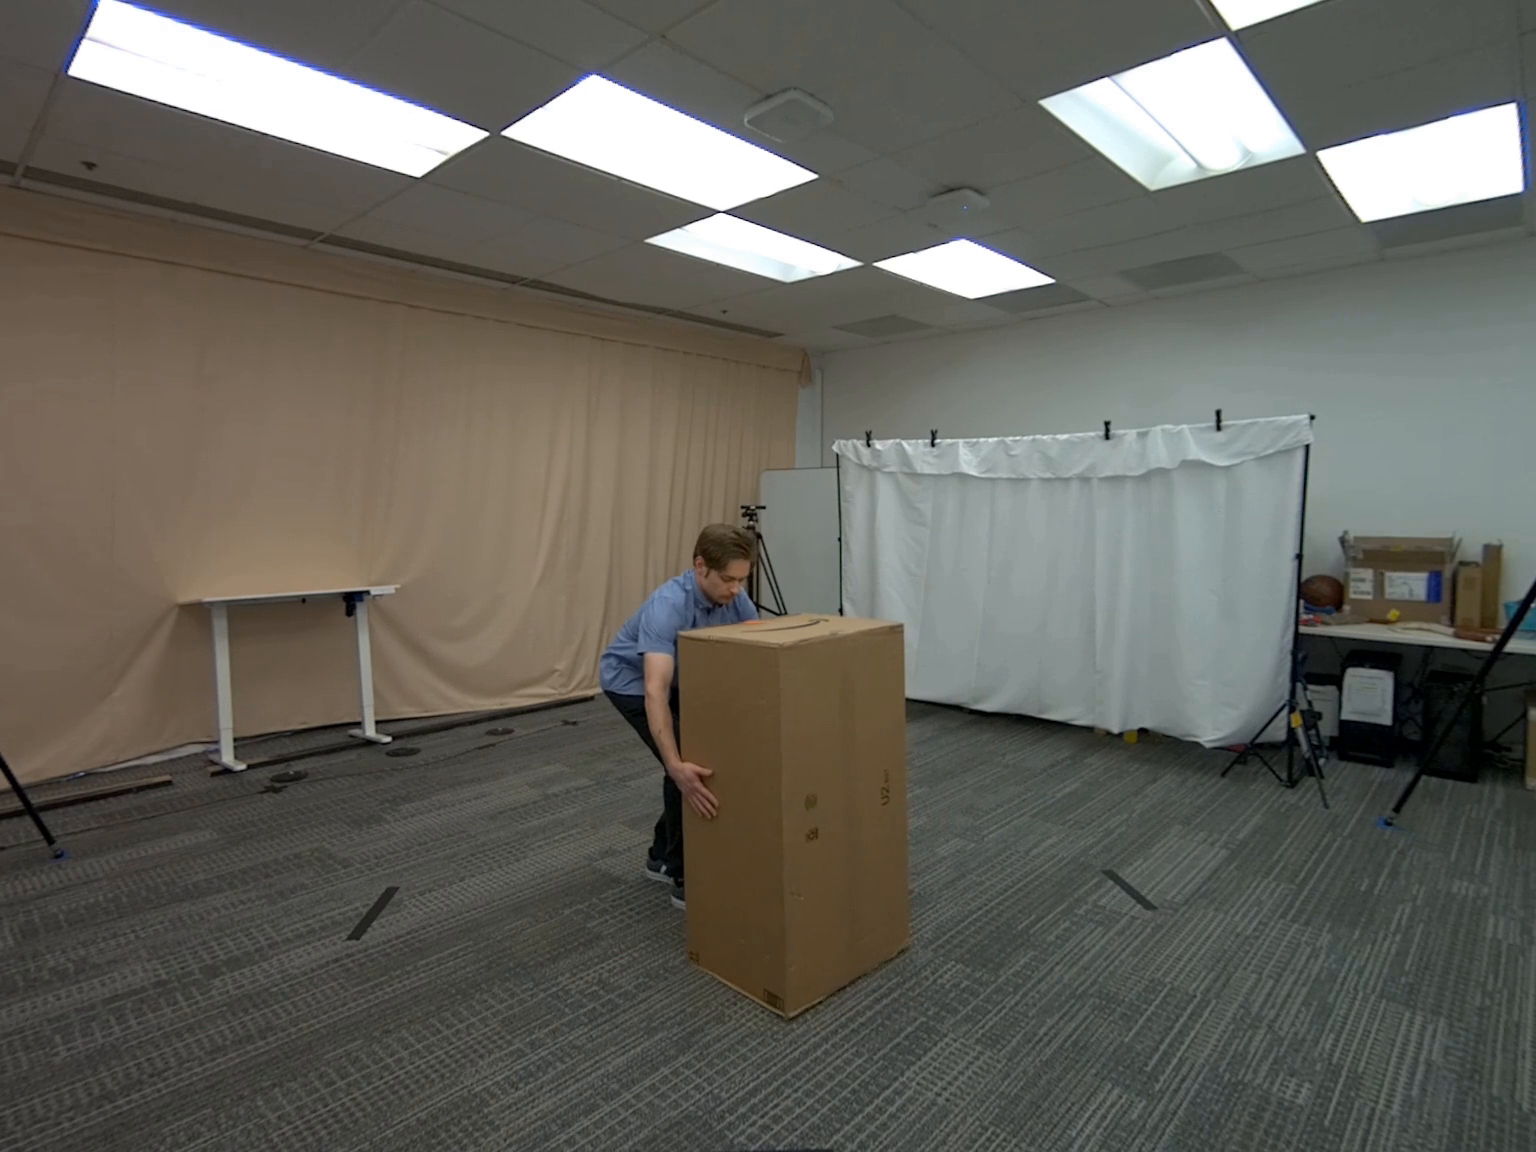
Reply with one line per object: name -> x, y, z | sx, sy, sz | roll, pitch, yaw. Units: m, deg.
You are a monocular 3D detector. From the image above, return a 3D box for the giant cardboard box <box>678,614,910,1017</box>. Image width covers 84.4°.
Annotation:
giant cardboard box -> 0.092, 0.666, 2.590 | 0.560, 1.024, 0.440 | -4, 3, -44
